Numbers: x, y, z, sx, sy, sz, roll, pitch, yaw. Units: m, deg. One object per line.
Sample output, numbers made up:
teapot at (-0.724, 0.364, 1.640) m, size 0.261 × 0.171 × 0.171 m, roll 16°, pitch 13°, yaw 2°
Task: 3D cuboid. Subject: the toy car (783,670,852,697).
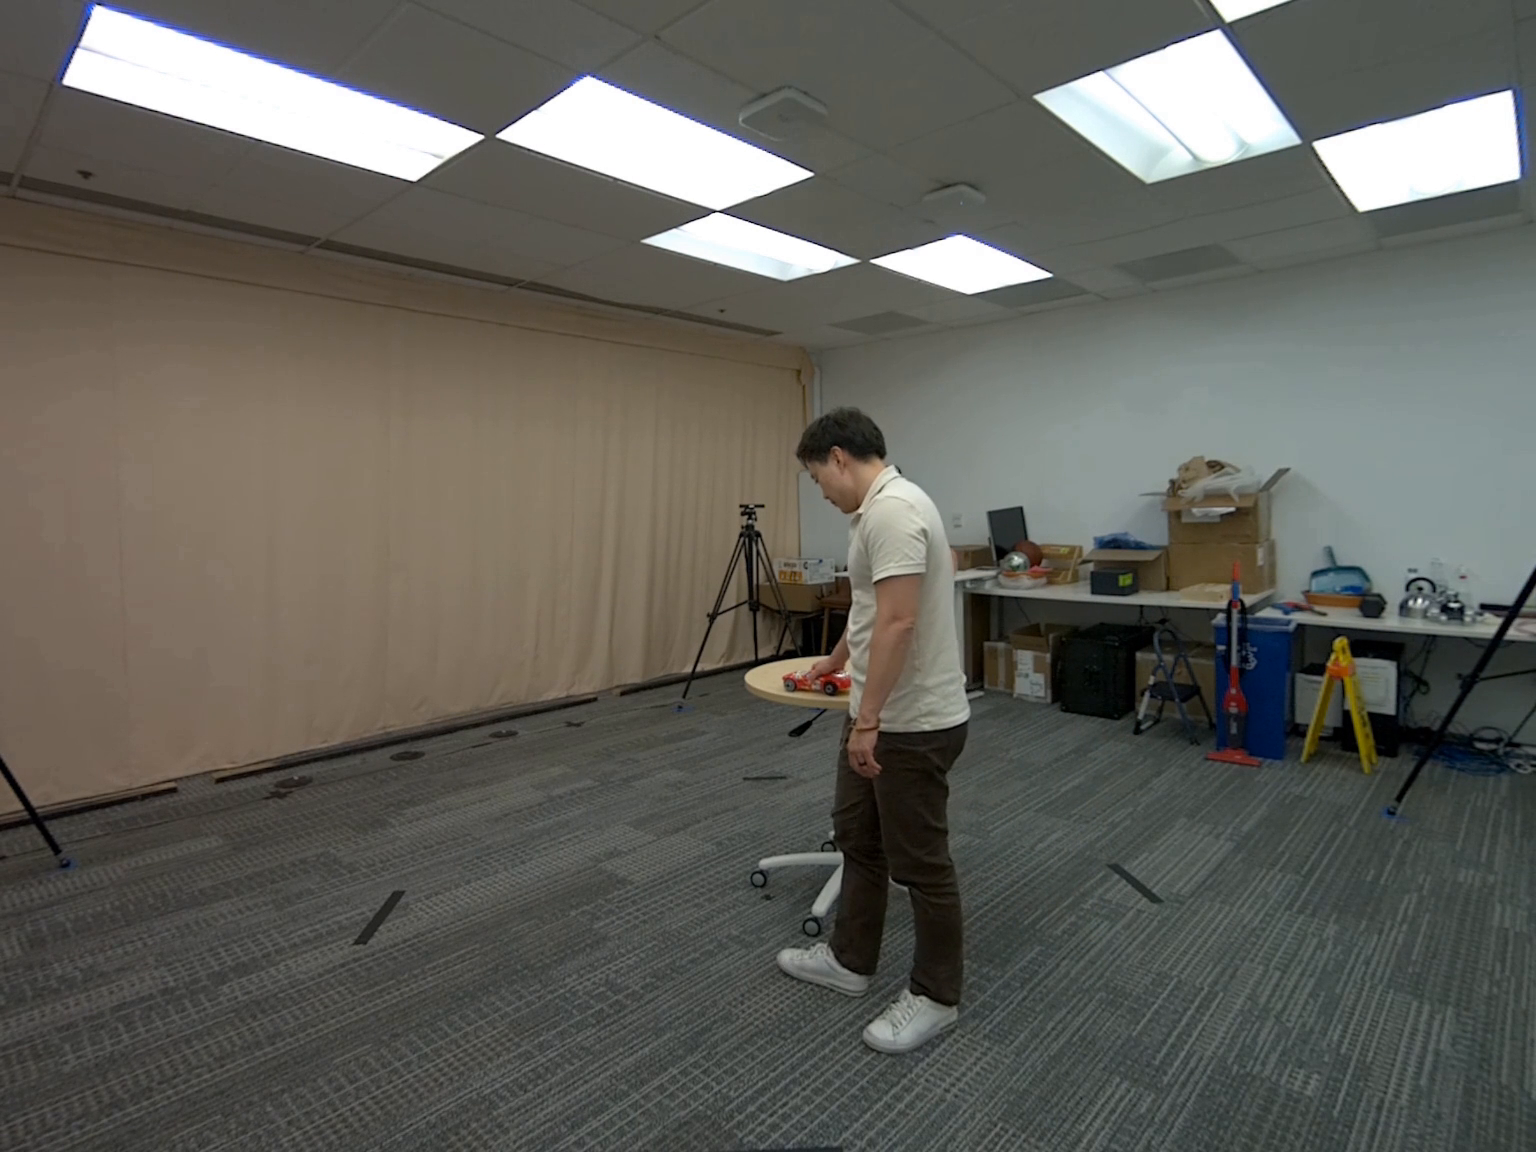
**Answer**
toy car at (0.180, 0.346, 2.728) m, size 0.261 × 0.083 × 0.127 m, roll -12°, pitch -2°, yaw 31°
